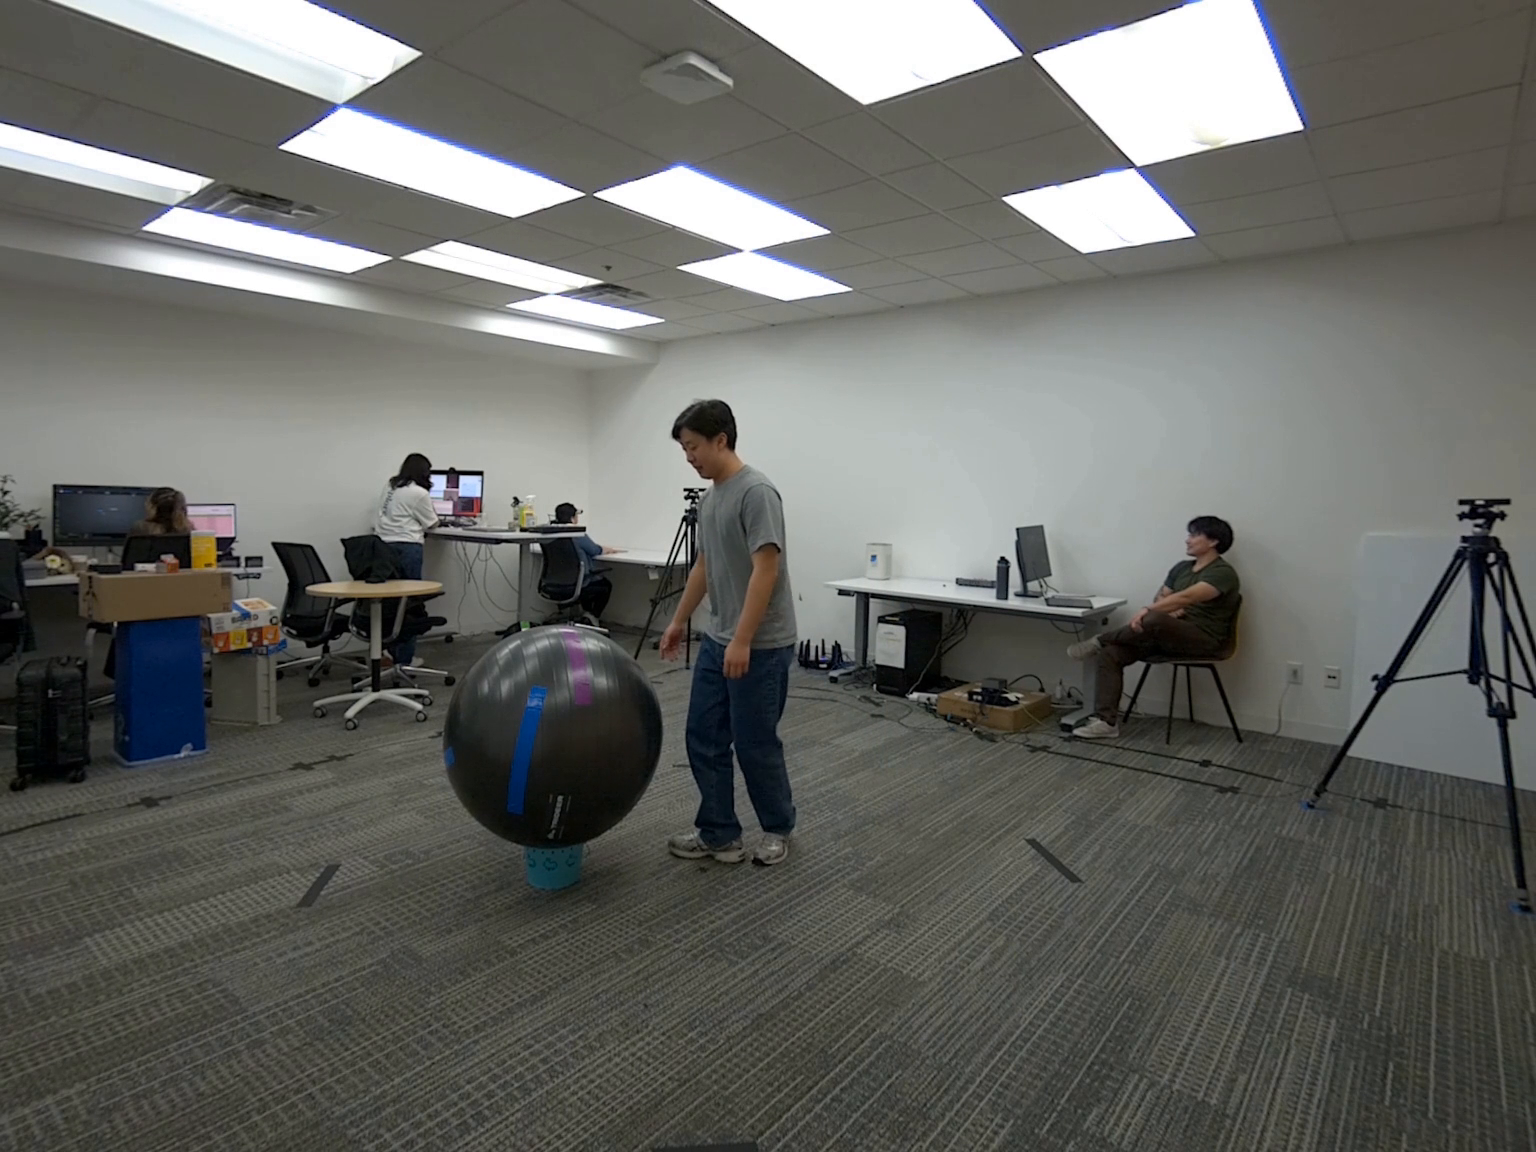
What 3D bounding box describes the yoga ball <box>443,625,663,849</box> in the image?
[{"bbox_3d":[-0.775,0.560,3.000,0.757,0.756,0.761,1,4,-2],"label":"yoga ball"}]
